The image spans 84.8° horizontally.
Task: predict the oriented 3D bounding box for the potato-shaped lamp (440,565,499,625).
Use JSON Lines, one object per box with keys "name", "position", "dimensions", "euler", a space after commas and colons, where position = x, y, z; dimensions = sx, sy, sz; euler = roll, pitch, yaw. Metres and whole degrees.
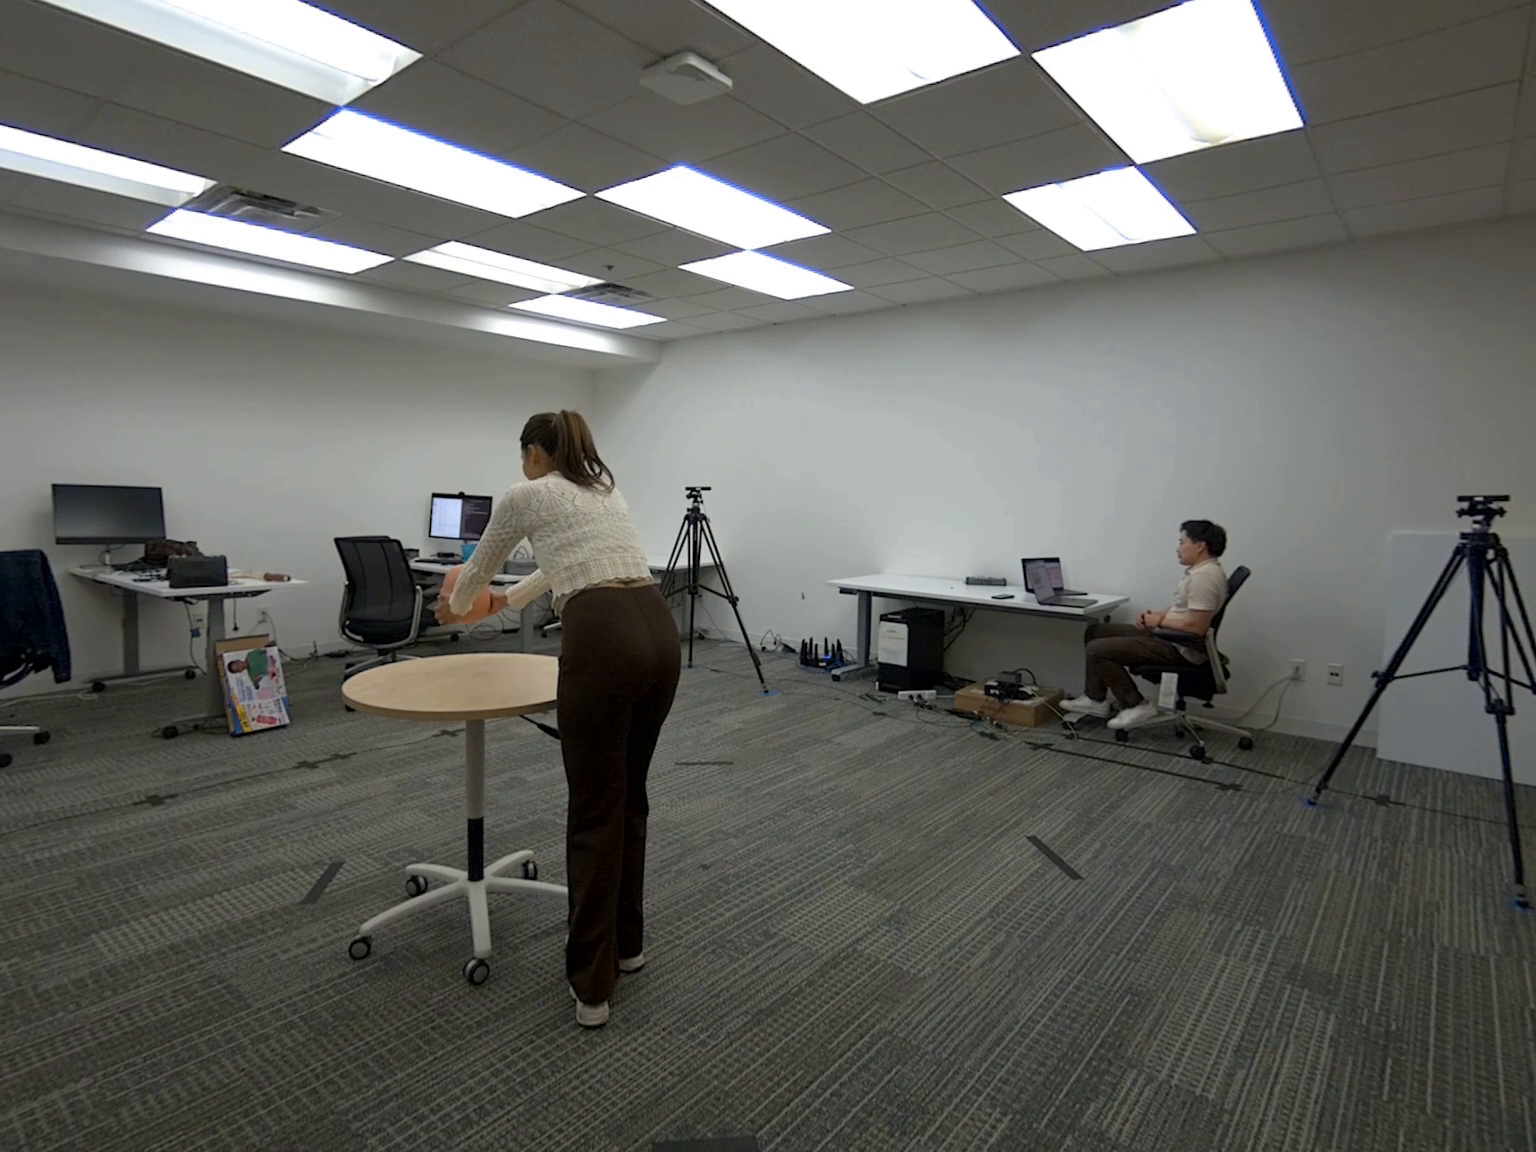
{"name": "potato-shaped lamp", "position": [-1.034, 0.056, 2.870], "dimensions": [0.160, 0.197, 0.177], "euler": [-5, 8, -42]}
